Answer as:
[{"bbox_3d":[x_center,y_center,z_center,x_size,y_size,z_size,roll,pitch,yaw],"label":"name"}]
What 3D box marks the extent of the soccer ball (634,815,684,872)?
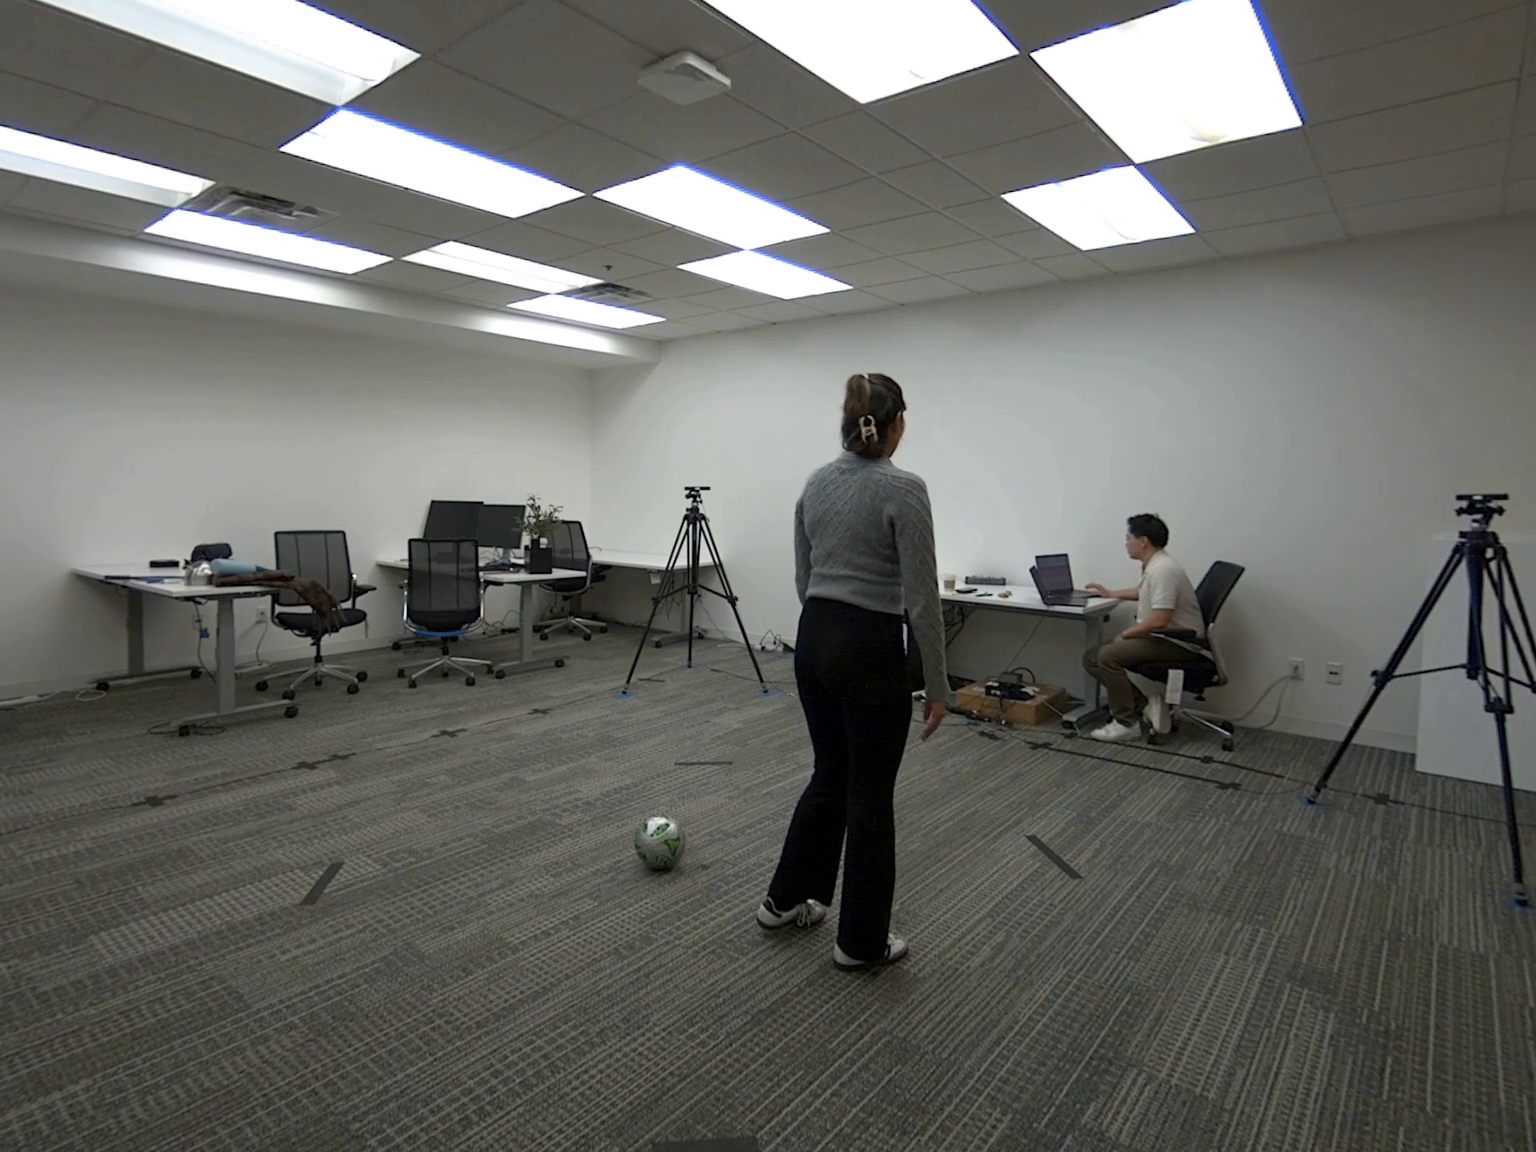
[{"bbox_3d":[-0.399,0.969,3.111,0.187,0.187,0.188,0,4,-2],"label":"soccer ball"}]
